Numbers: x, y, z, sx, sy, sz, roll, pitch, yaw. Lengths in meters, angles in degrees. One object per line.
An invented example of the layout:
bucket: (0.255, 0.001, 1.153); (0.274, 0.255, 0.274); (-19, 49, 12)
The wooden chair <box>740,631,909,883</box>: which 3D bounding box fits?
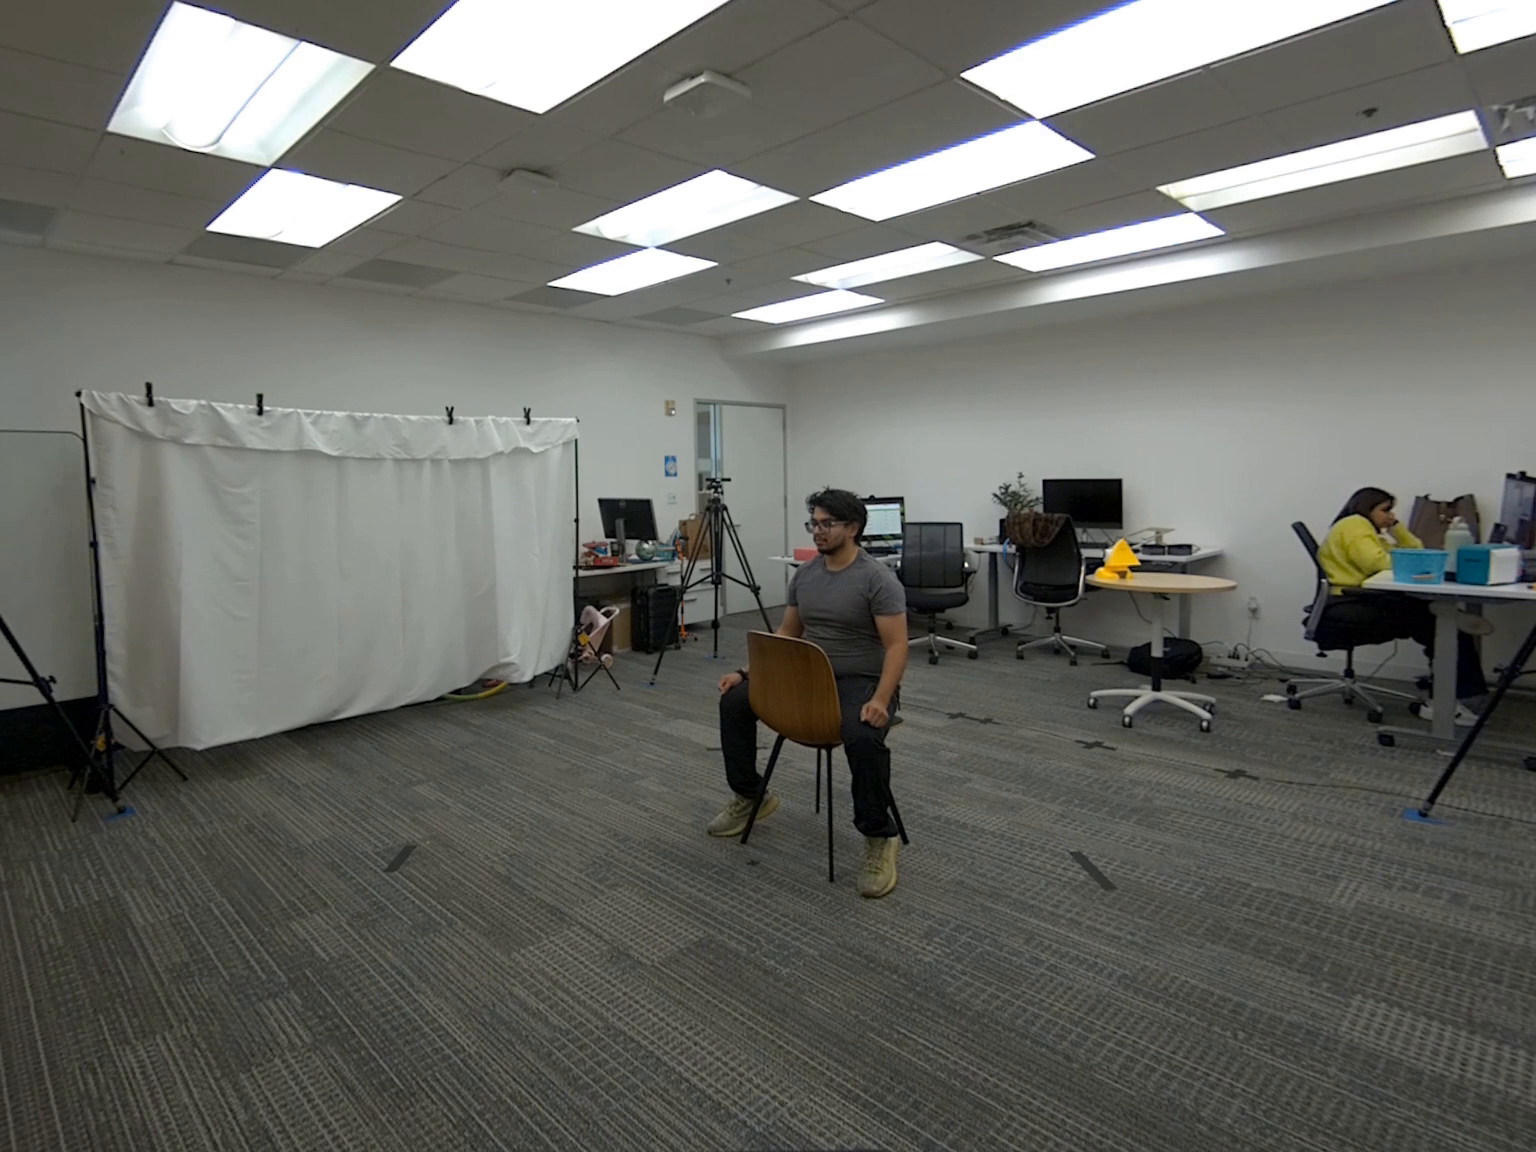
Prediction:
wooden chair: (0.215, 0.602, 3.236); (0.511, 0.872, 0.493); (-10, 9, -43)
